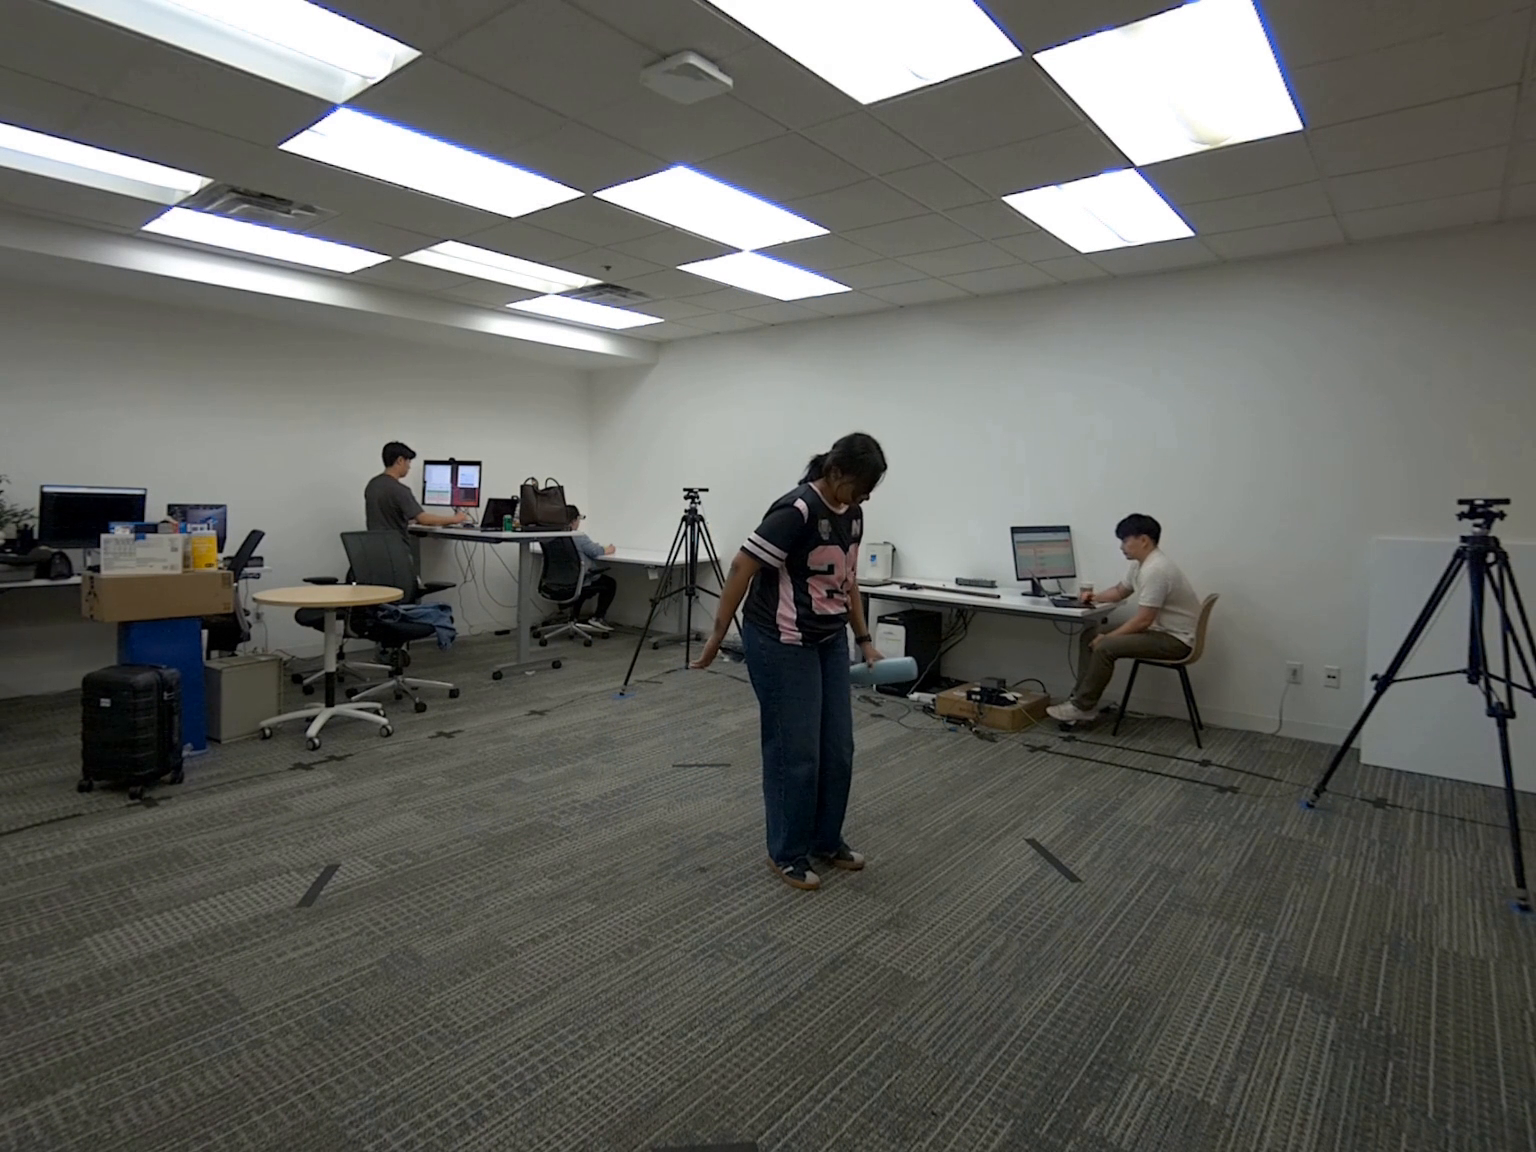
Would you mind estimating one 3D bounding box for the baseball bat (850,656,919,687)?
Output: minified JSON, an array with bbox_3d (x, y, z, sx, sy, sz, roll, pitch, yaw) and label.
[{"bbox_3d":[0.301,0.379,3.279,0.554,0.089,0.087,-10,-1,25],"label":"baseball bat"}]
